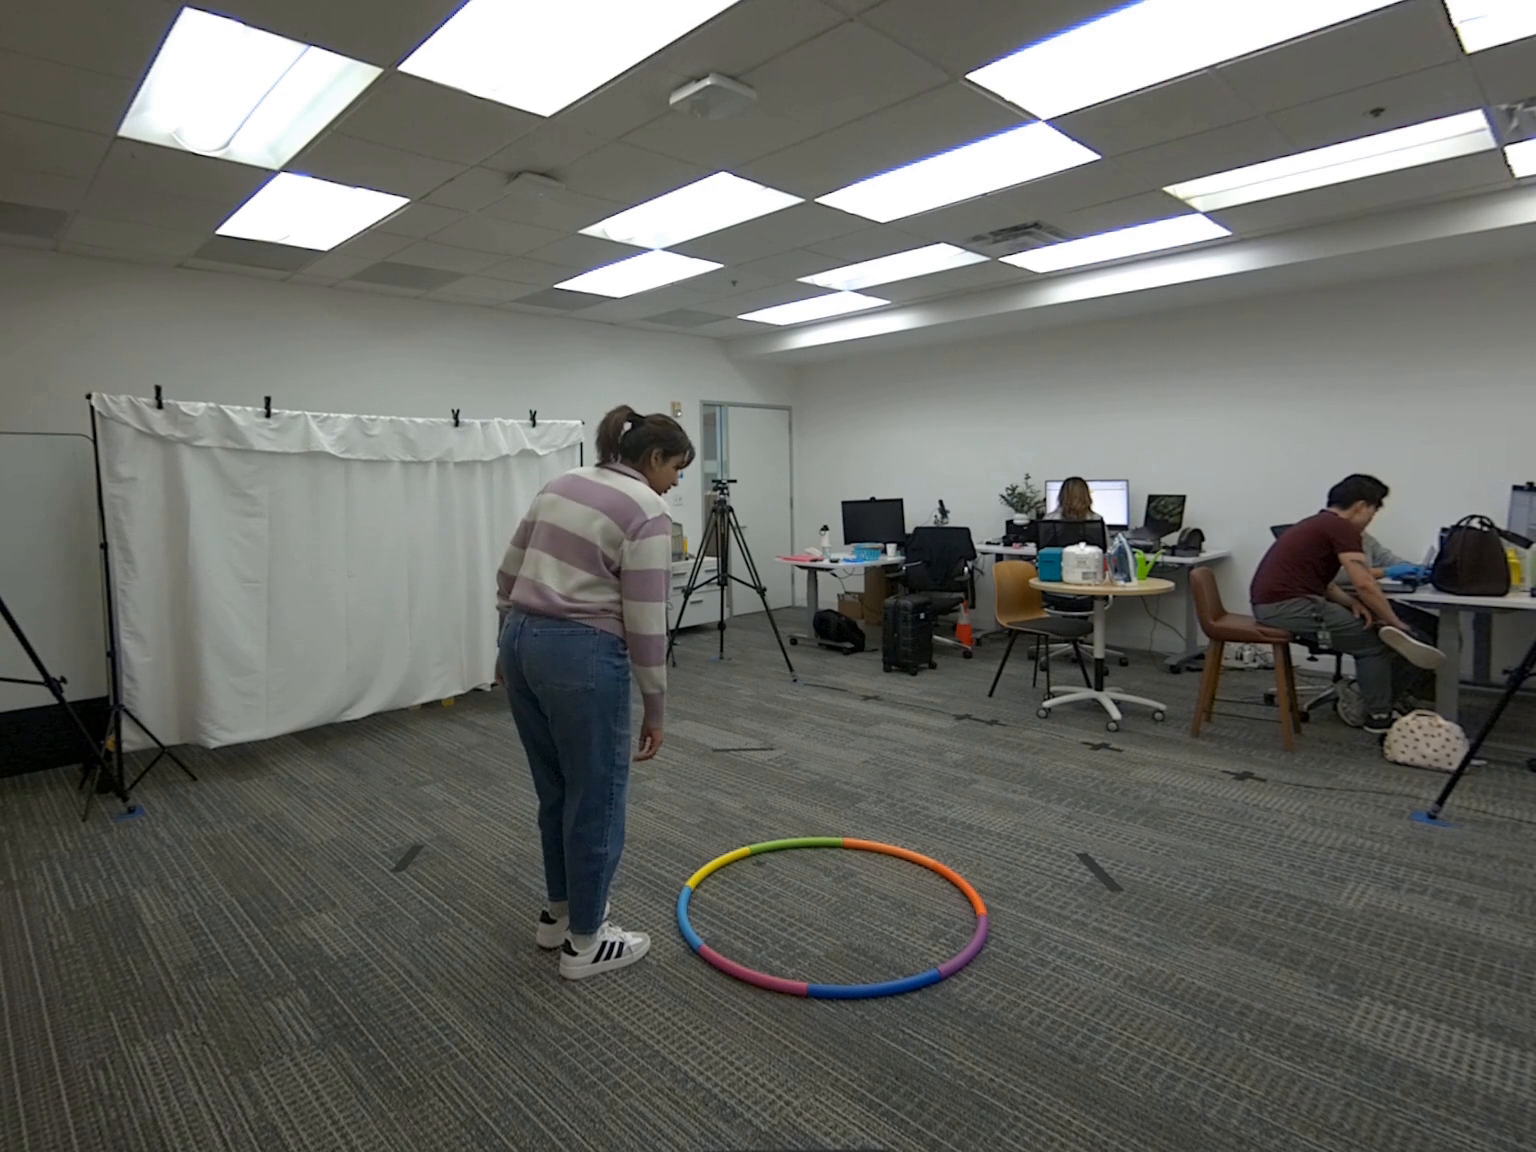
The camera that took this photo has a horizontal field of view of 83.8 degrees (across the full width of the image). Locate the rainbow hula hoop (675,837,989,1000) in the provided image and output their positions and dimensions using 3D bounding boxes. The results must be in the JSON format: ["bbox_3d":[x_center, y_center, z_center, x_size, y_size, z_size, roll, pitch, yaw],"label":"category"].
[{"bbox_3d":[0.200,1.056,2.775,0.985,0.051,0.991,-1,7,-2],"label":"rainbow hula hoop"}]
